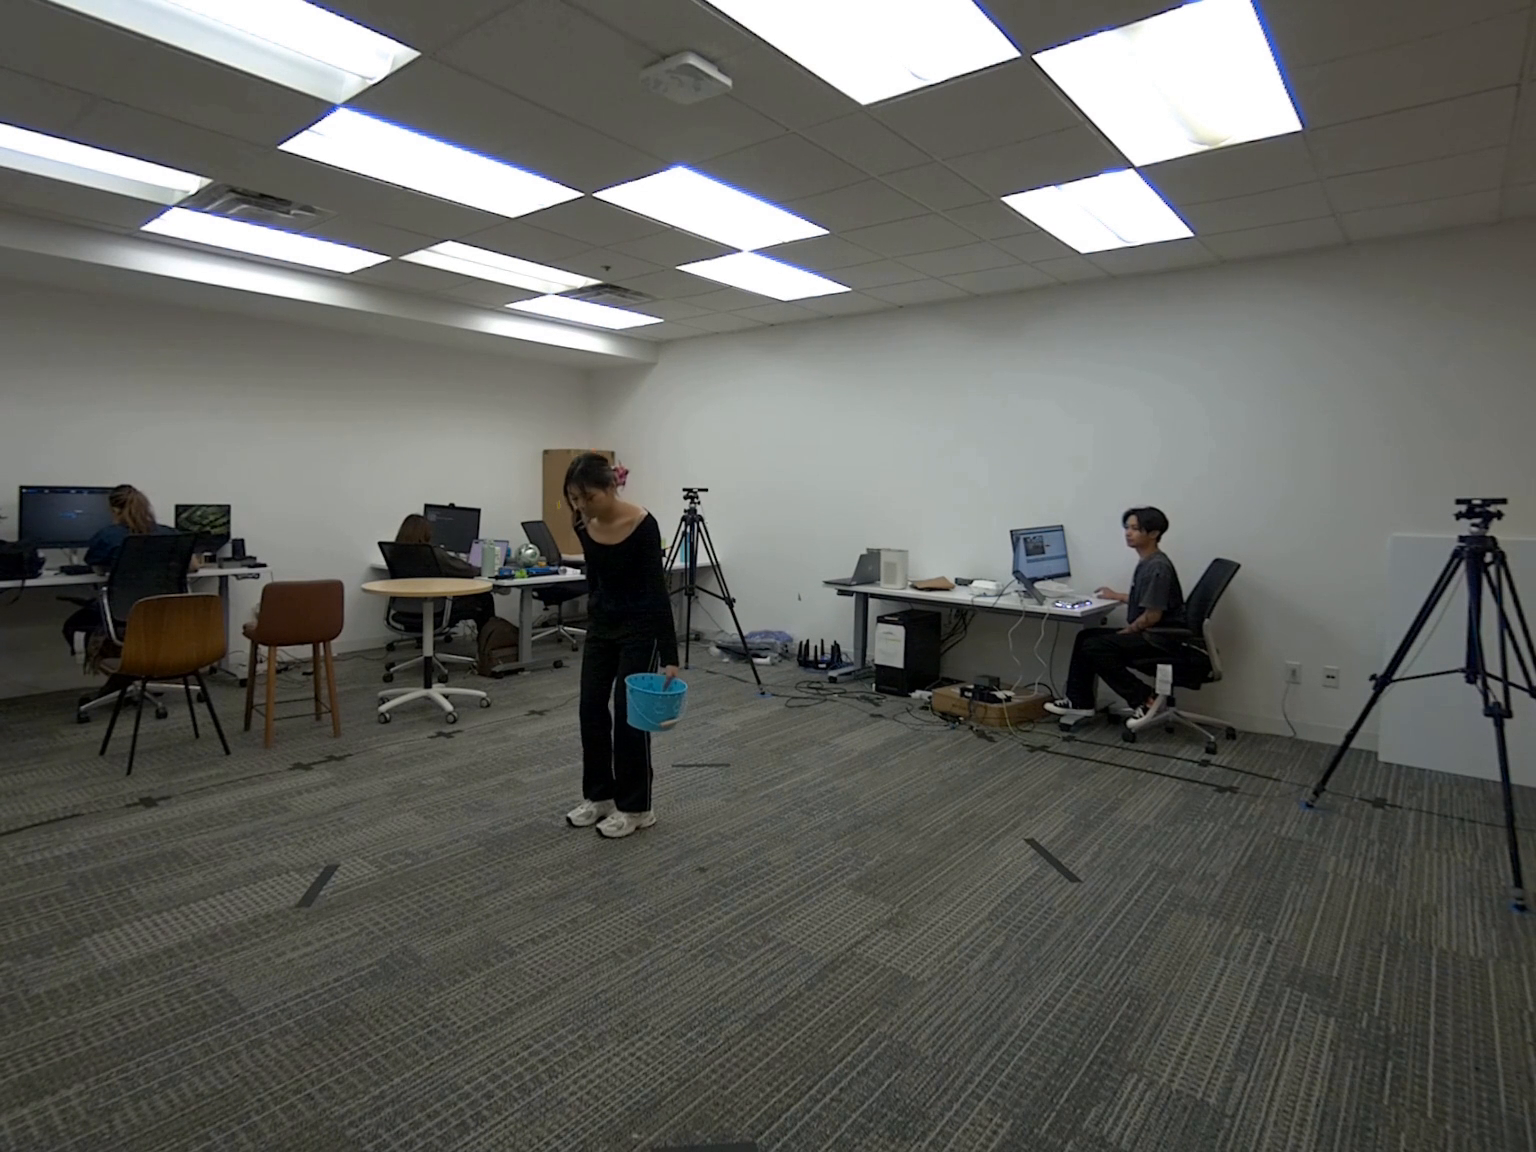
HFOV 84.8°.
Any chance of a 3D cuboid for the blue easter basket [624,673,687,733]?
[{"bbox_3d":[-0.431,0.474,3.135,0.243,0.155,0.246,6,8,-3],"label":"blue easter basket"}]
